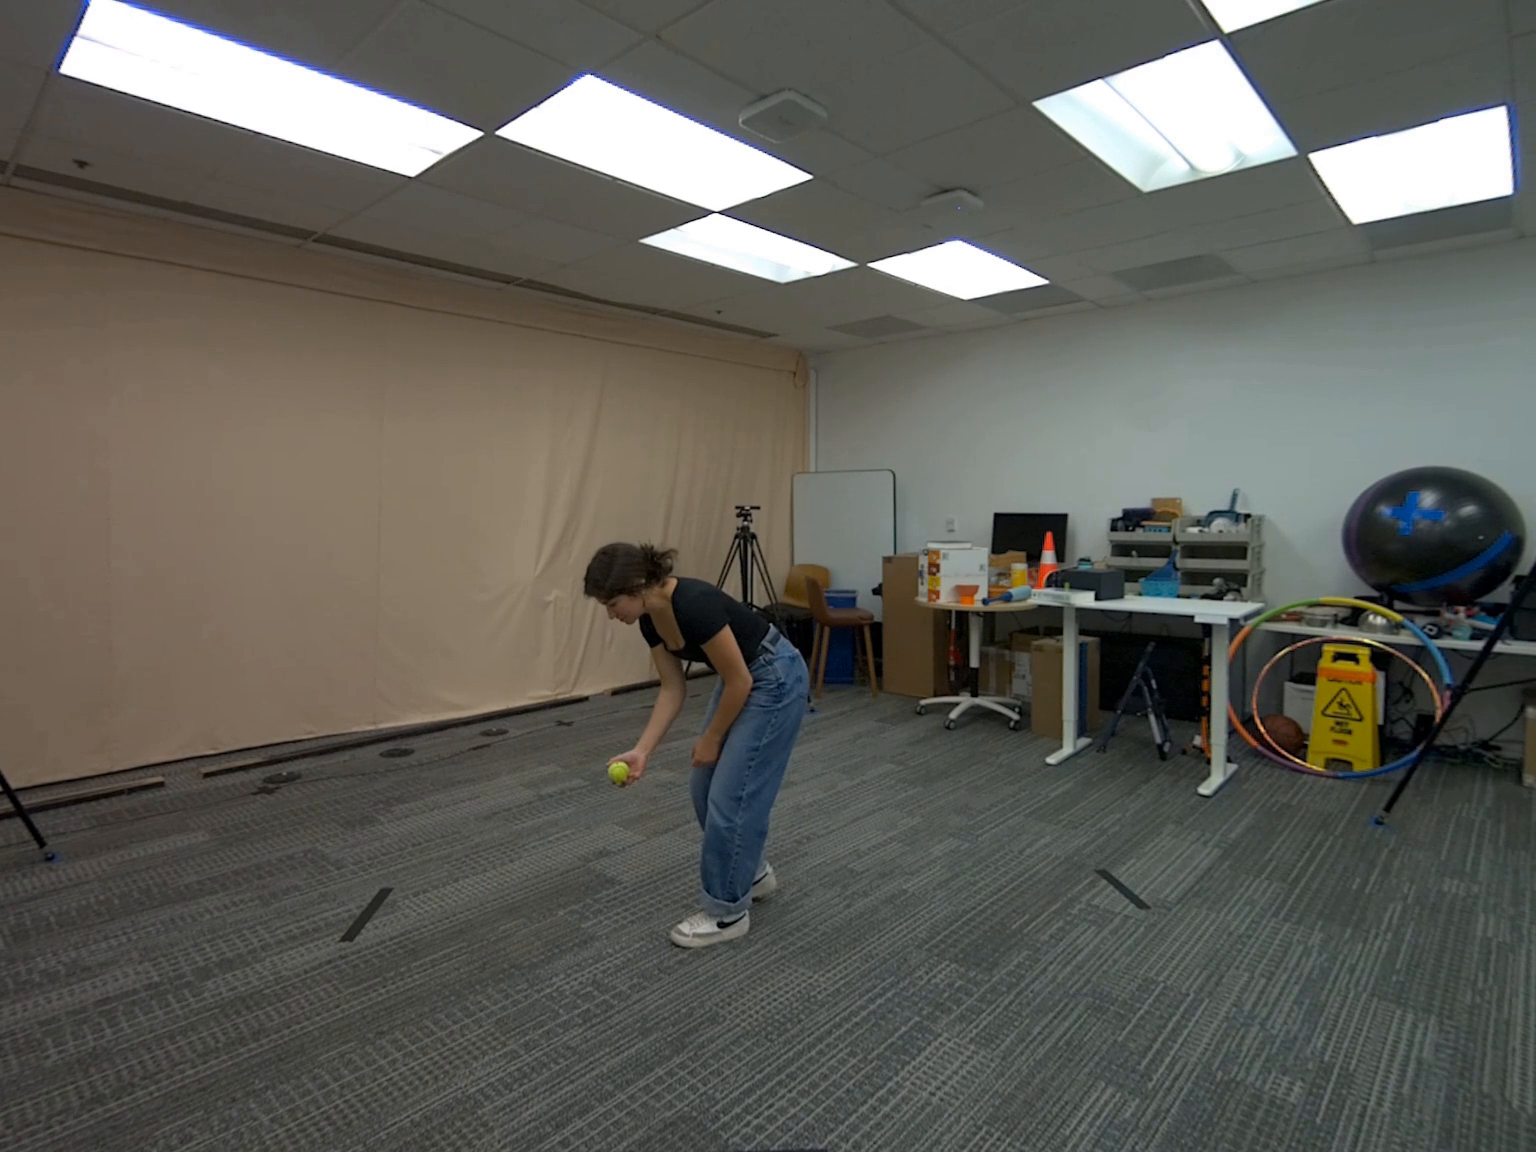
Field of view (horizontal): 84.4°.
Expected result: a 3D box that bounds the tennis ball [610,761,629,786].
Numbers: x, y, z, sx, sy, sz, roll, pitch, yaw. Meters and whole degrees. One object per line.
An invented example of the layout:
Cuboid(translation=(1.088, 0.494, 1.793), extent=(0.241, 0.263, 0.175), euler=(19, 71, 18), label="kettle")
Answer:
Cuboid(translation=(-0.441, 0.645, 2.704), extent=(0.066, 0.066, 0.067), euler=(0, 4, -2), label="tennis ball")
